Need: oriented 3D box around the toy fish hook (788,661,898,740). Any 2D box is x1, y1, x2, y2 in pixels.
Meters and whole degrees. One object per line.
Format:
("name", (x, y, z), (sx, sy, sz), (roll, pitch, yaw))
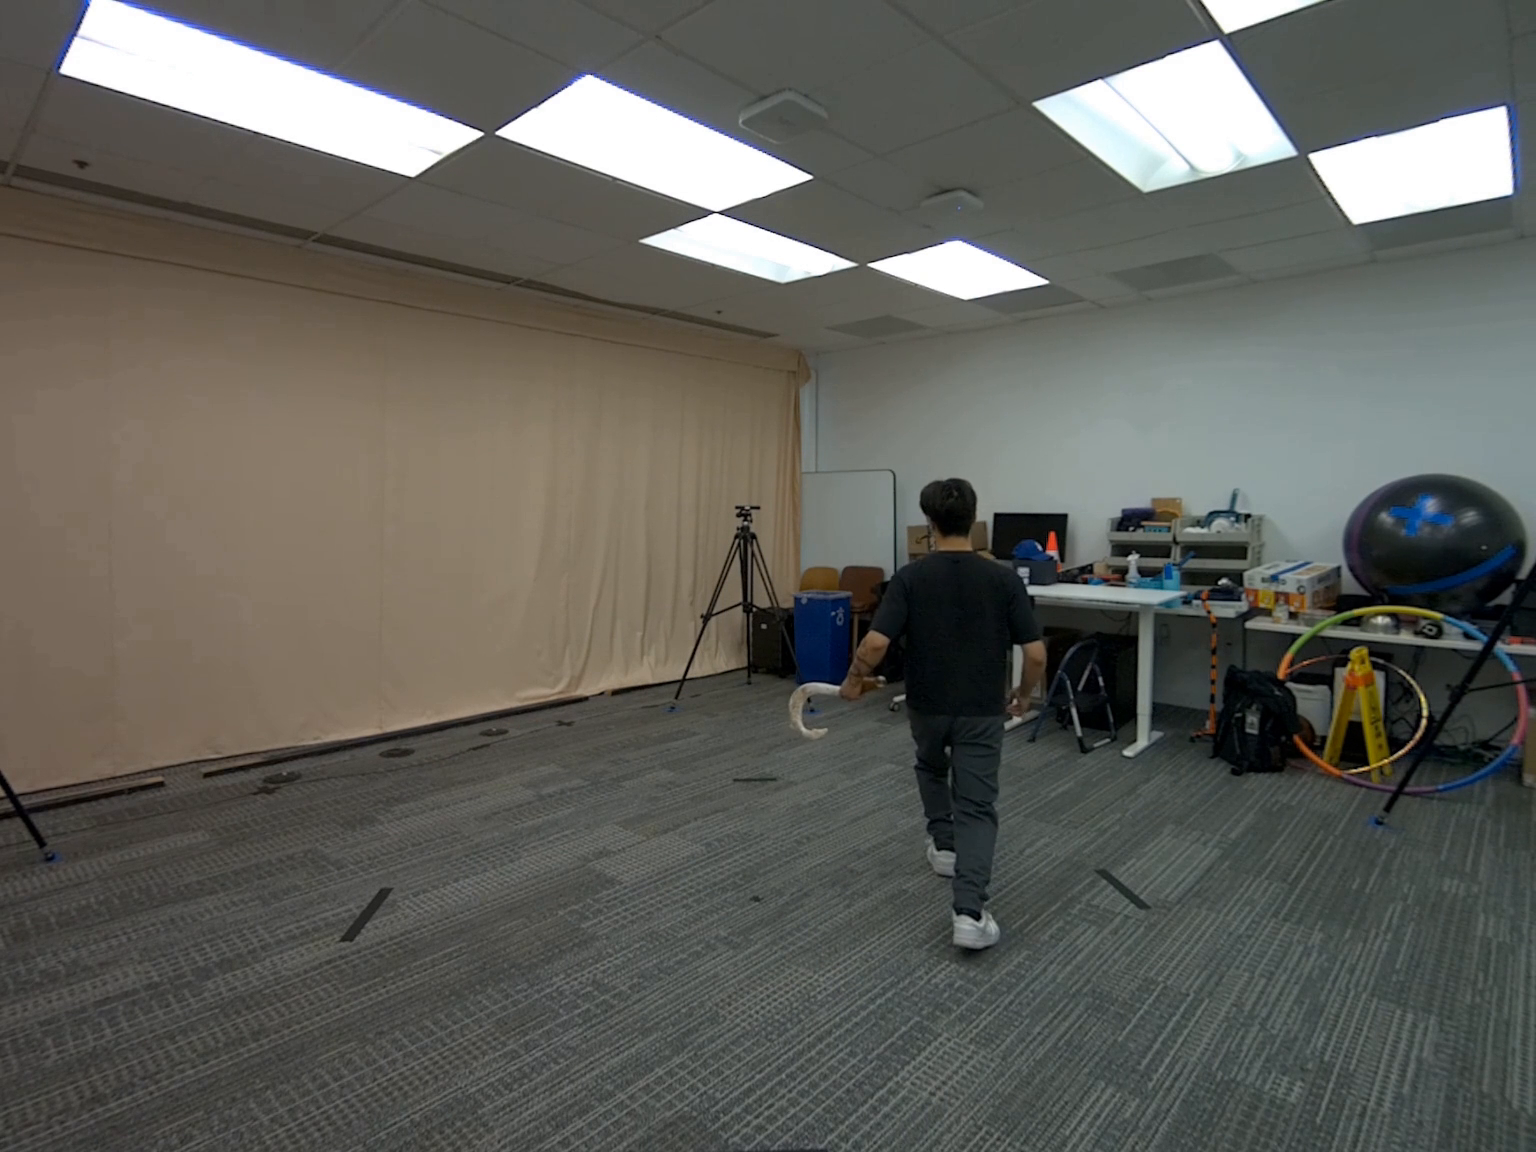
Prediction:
("toy fish hook", (0.277, 0.492, 3.307), (0.047, 0.227, 0.517), (7, -20, -39))
